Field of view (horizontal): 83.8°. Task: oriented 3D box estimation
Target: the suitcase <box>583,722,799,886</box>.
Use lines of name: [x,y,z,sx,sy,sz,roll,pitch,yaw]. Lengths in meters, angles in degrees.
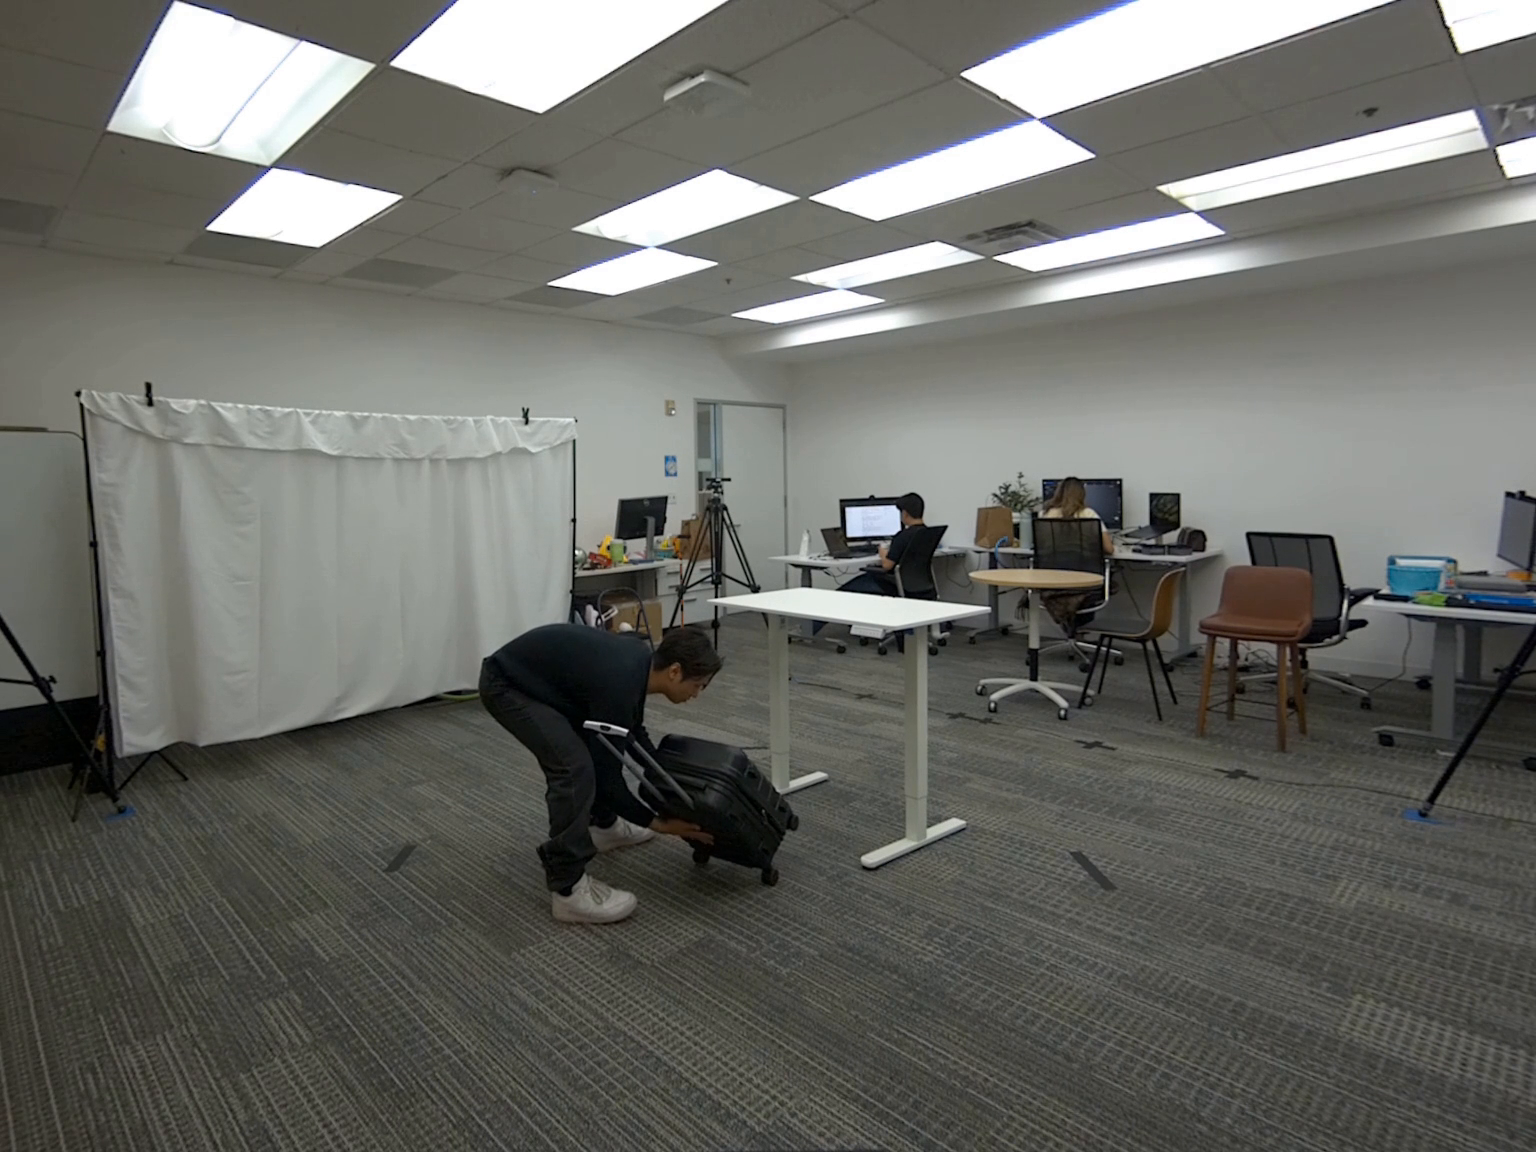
suitcase: [-0.248,0.650,2.788,0.395,0.259,0.942,5,-38,33]
